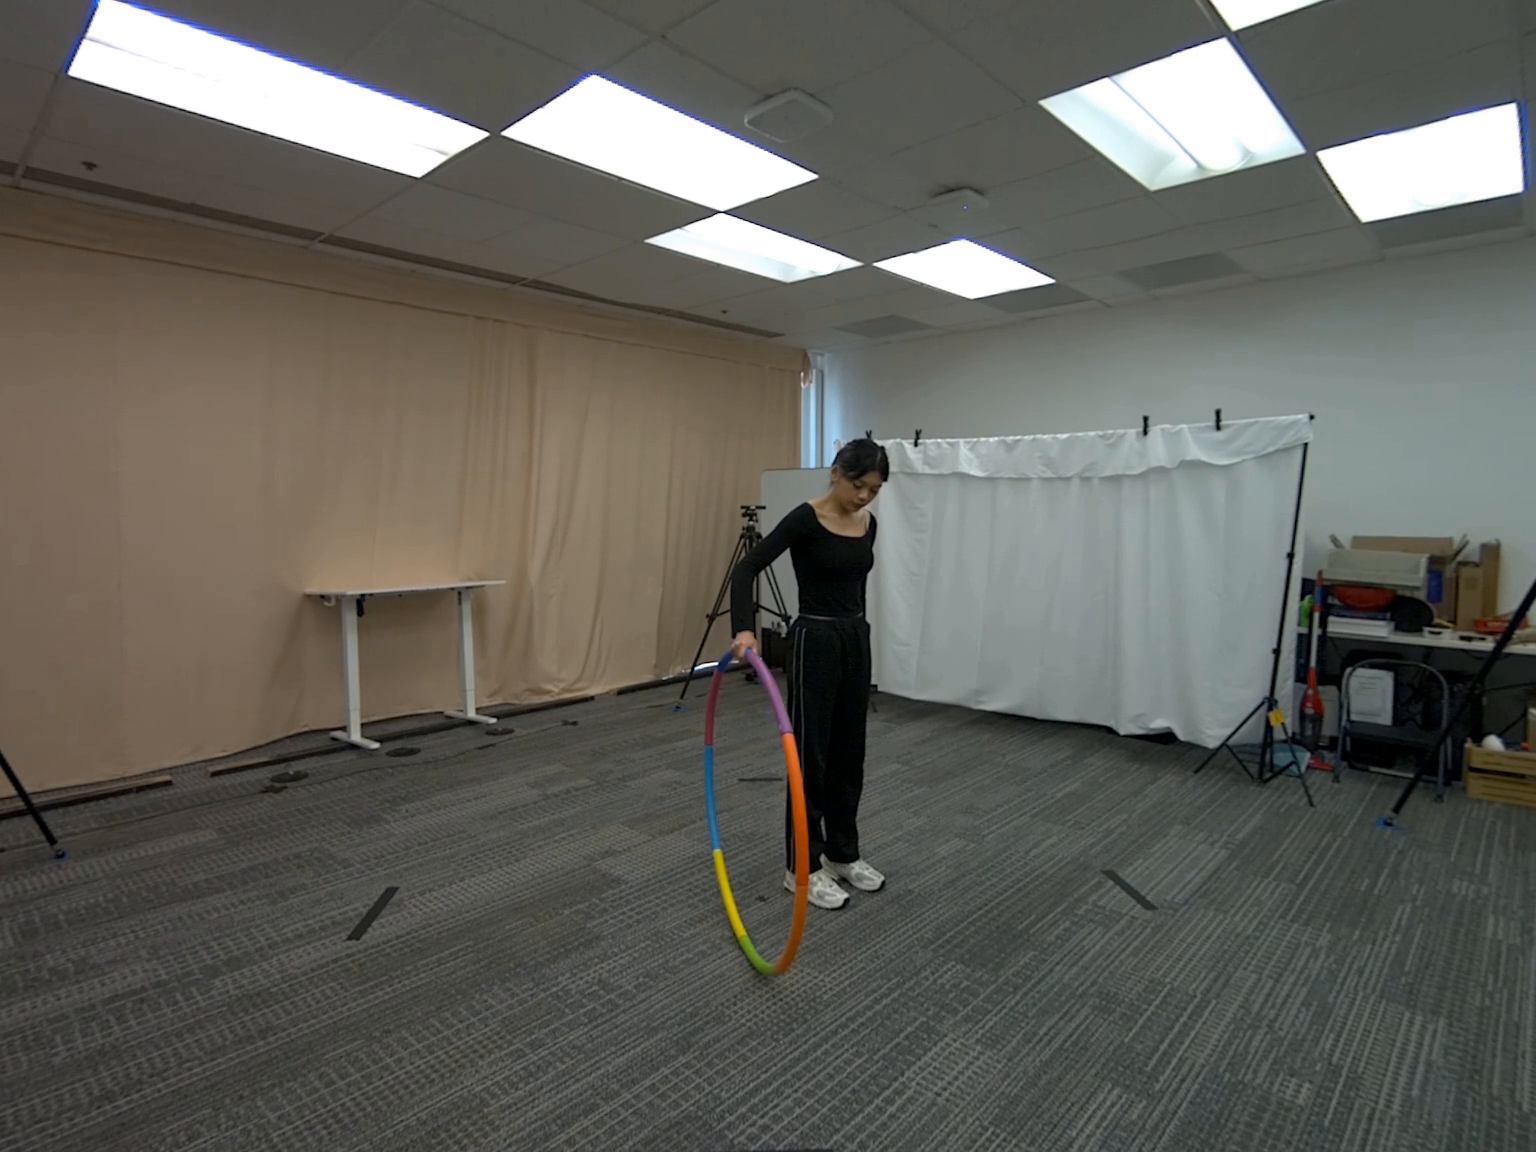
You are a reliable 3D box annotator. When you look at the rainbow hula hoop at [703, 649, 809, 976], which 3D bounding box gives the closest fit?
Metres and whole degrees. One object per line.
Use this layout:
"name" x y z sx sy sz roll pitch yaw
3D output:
"rainbow hula hoop" -0.061 0.697 2.610 0.035 0.976 0.997 -1 4 -17
